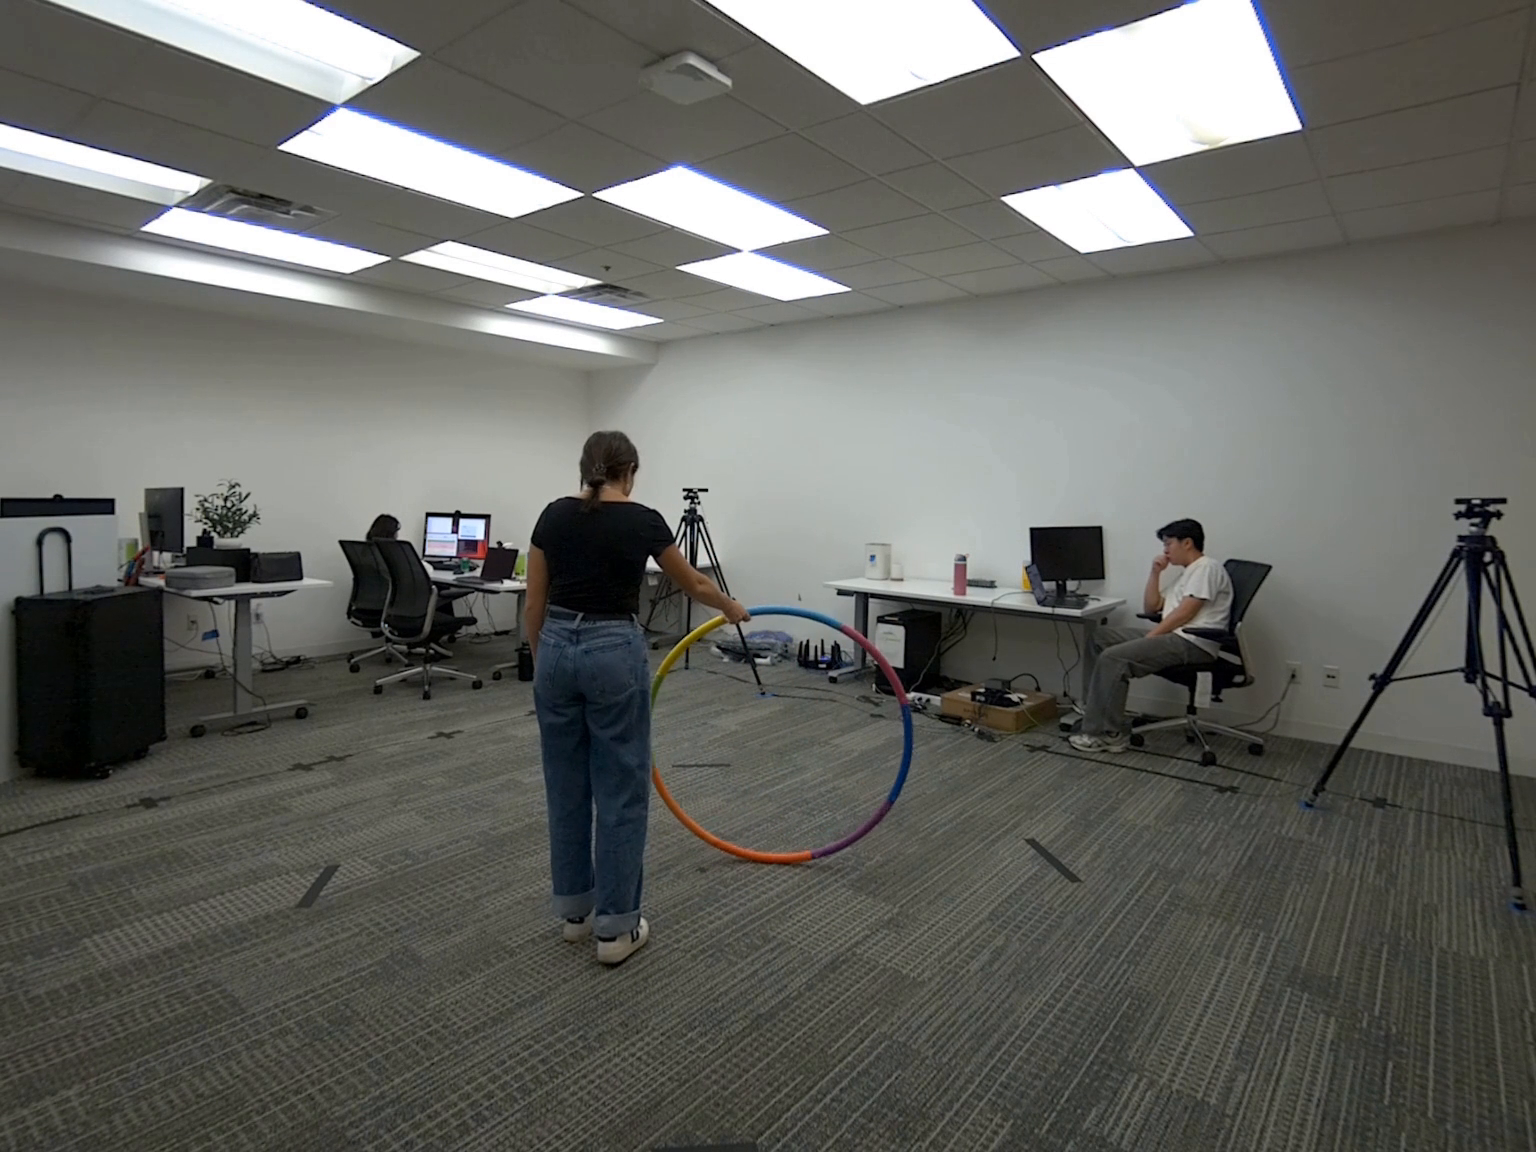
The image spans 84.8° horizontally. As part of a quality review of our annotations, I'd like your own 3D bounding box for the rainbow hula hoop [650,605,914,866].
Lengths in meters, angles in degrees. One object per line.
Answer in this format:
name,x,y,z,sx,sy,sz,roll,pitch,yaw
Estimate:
rainbow hula hoop,0.026,0.586,3.112,0.985,0.971,0.035,1,8,6
